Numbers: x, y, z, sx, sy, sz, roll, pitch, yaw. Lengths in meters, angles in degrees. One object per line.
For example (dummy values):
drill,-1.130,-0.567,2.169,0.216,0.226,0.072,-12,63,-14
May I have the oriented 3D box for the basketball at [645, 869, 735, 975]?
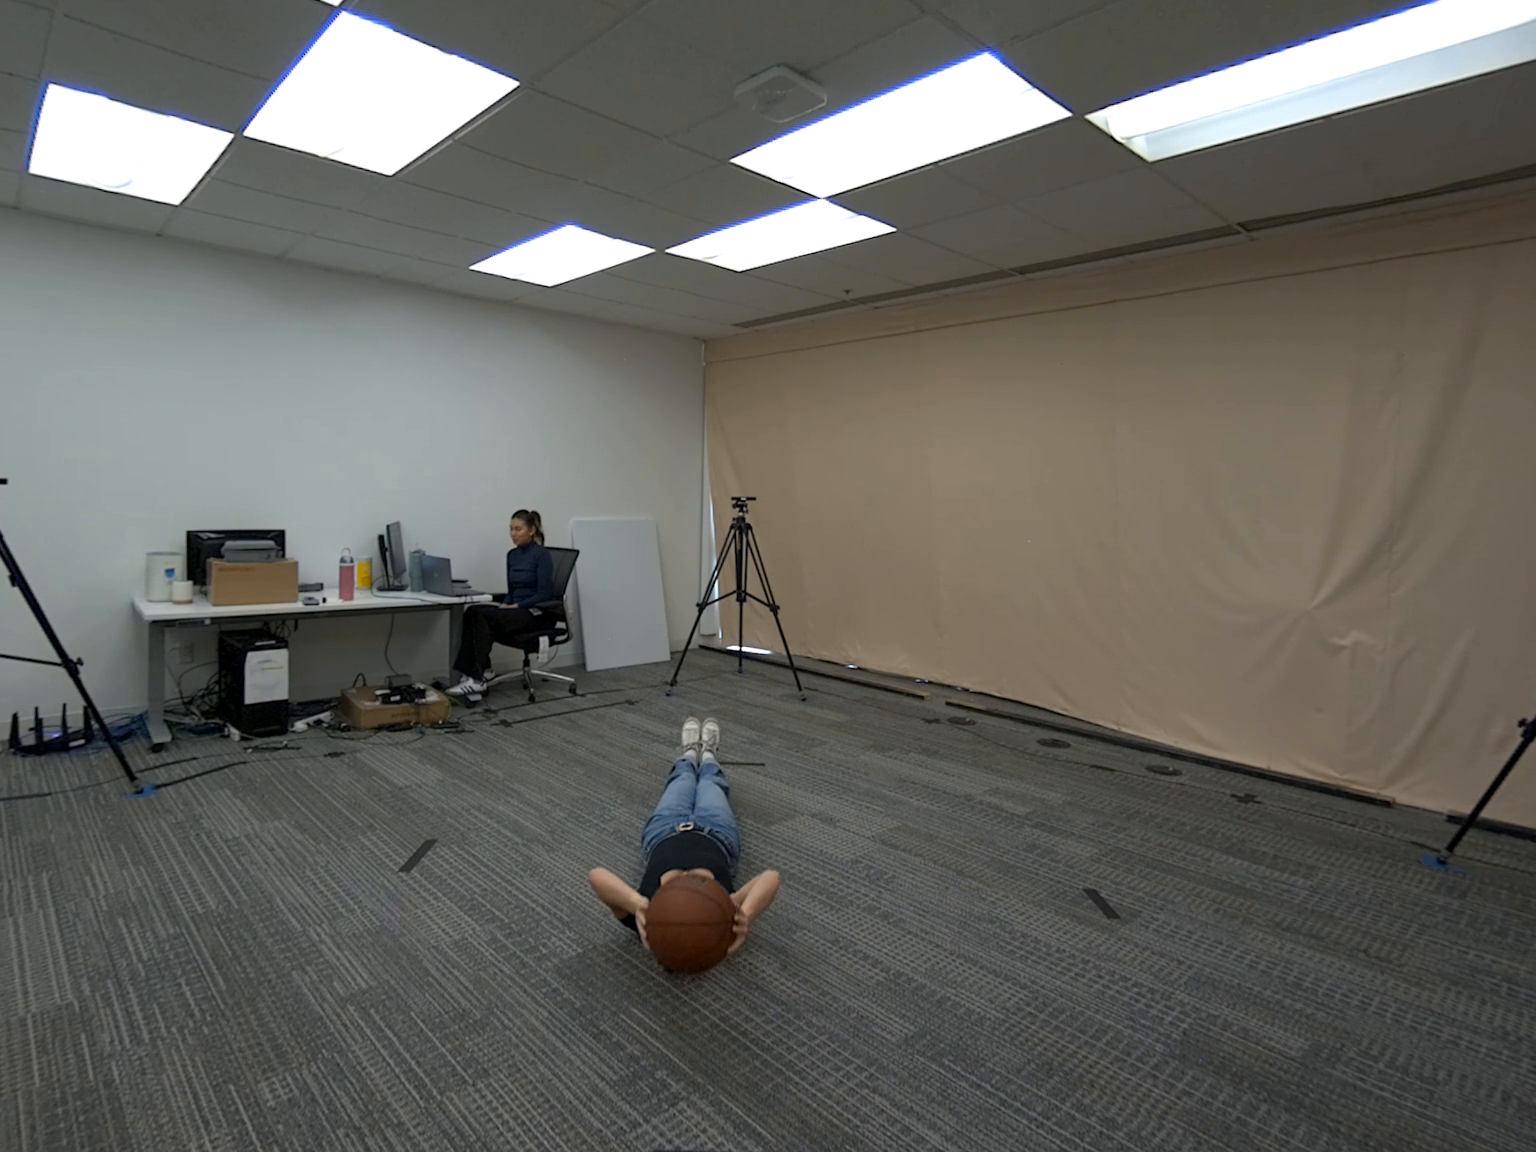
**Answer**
basketball,-0.208,0.891,2.200,0.236,0.235,0.237,1,4,-1
